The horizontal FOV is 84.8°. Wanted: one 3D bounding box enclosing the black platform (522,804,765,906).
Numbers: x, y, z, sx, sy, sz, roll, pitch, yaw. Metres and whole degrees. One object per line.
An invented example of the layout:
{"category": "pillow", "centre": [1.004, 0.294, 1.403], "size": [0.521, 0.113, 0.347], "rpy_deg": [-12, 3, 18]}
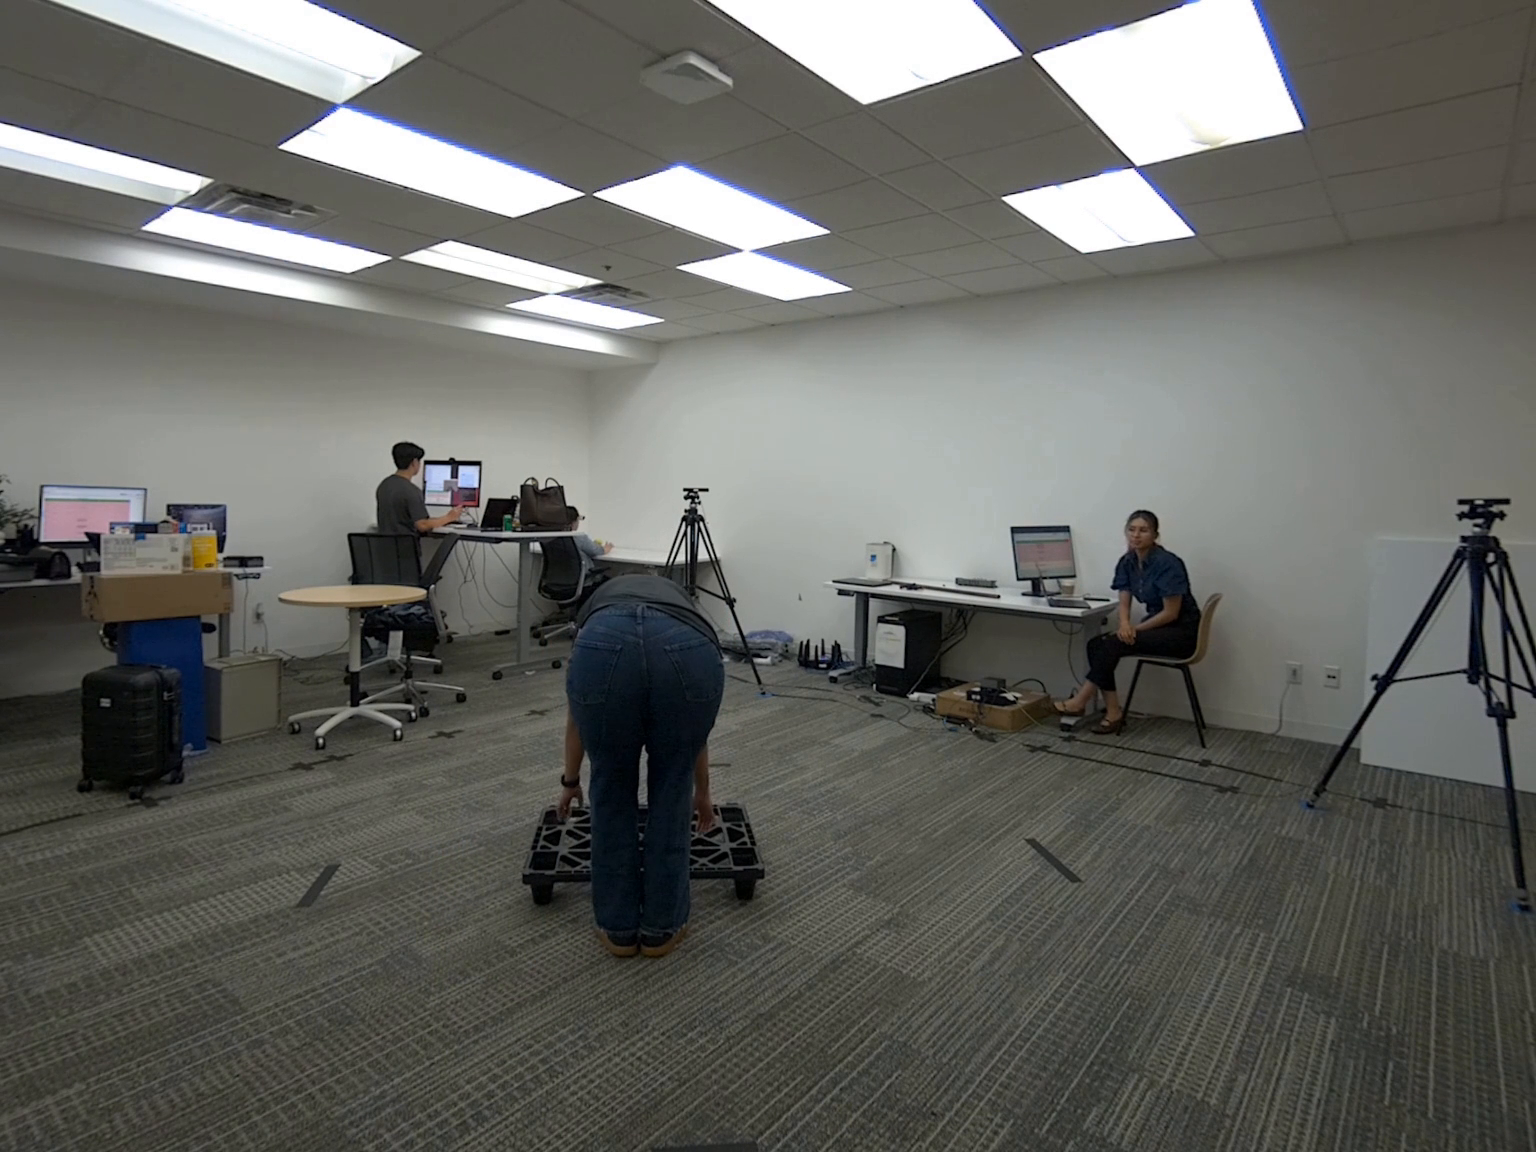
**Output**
{"category": "black platform", "centre": [-0.459, 0.999, 3.081], "size": [0.801, 0.143, 0.611], "rpy_deg": [1, 5, -6]}
